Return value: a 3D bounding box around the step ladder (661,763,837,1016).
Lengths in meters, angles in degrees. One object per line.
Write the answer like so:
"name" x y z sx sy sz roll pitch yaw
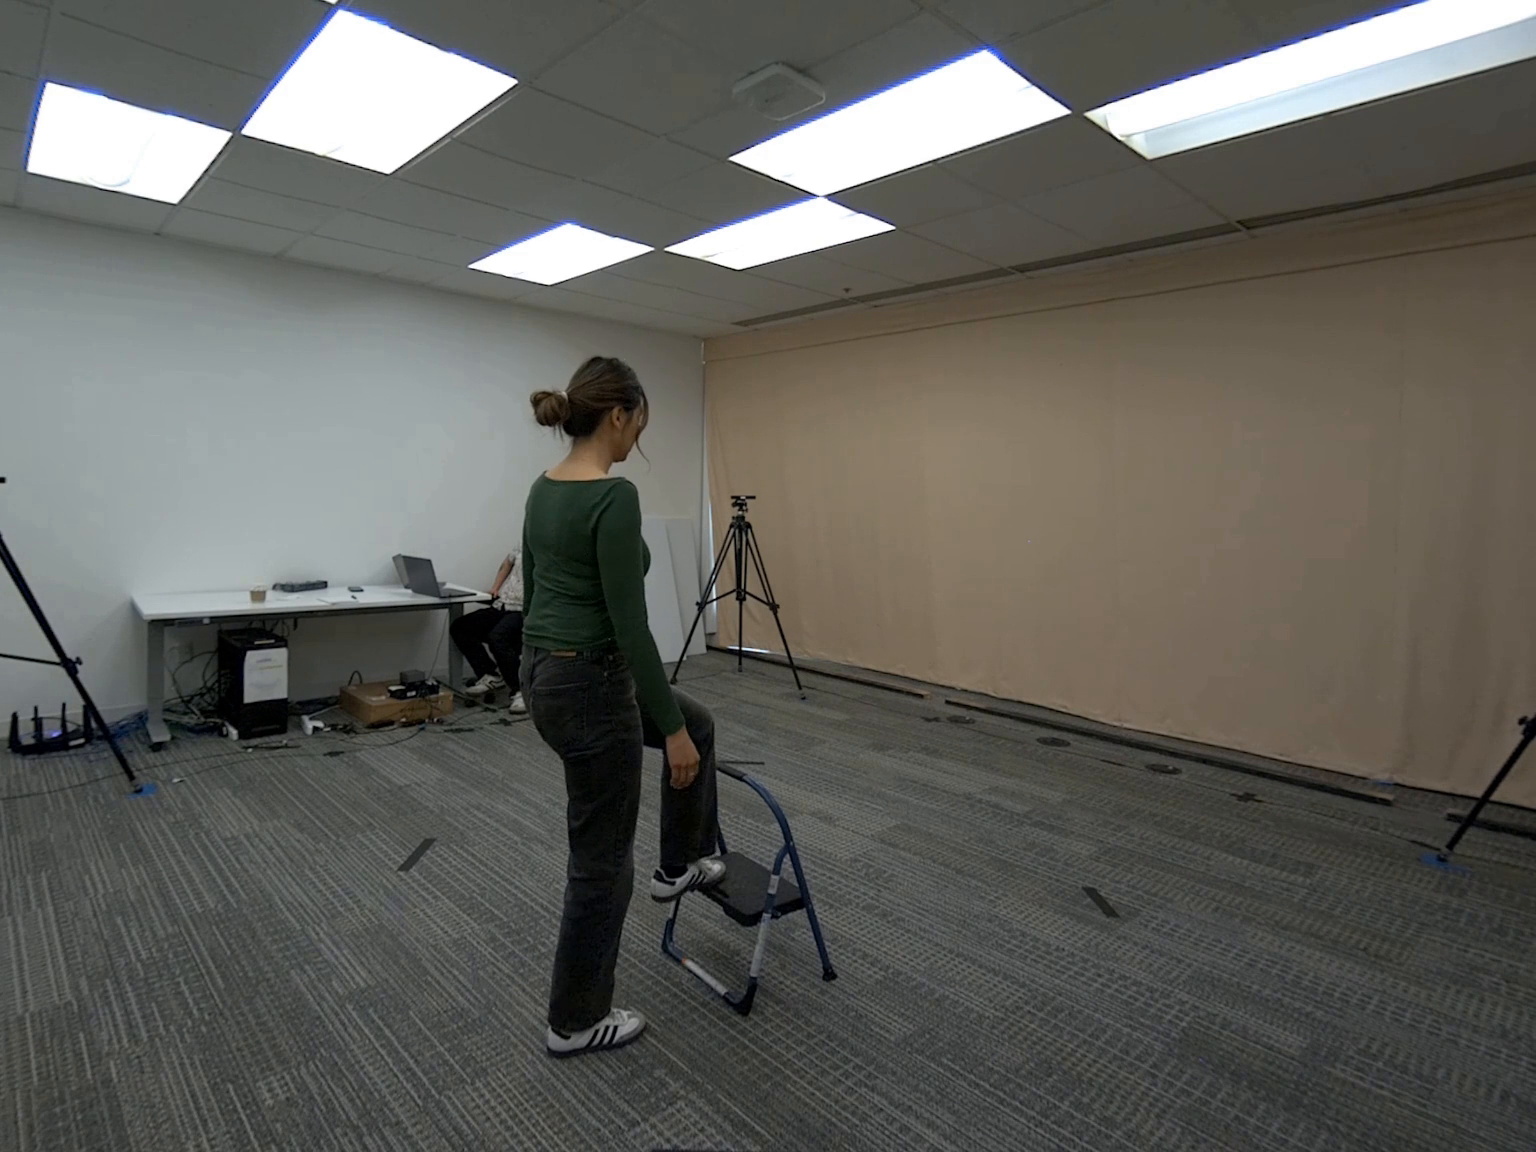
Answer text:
"step ladder" -0.062 0.857 2.498 0.341 0.604 0.441 -2 5 -40
